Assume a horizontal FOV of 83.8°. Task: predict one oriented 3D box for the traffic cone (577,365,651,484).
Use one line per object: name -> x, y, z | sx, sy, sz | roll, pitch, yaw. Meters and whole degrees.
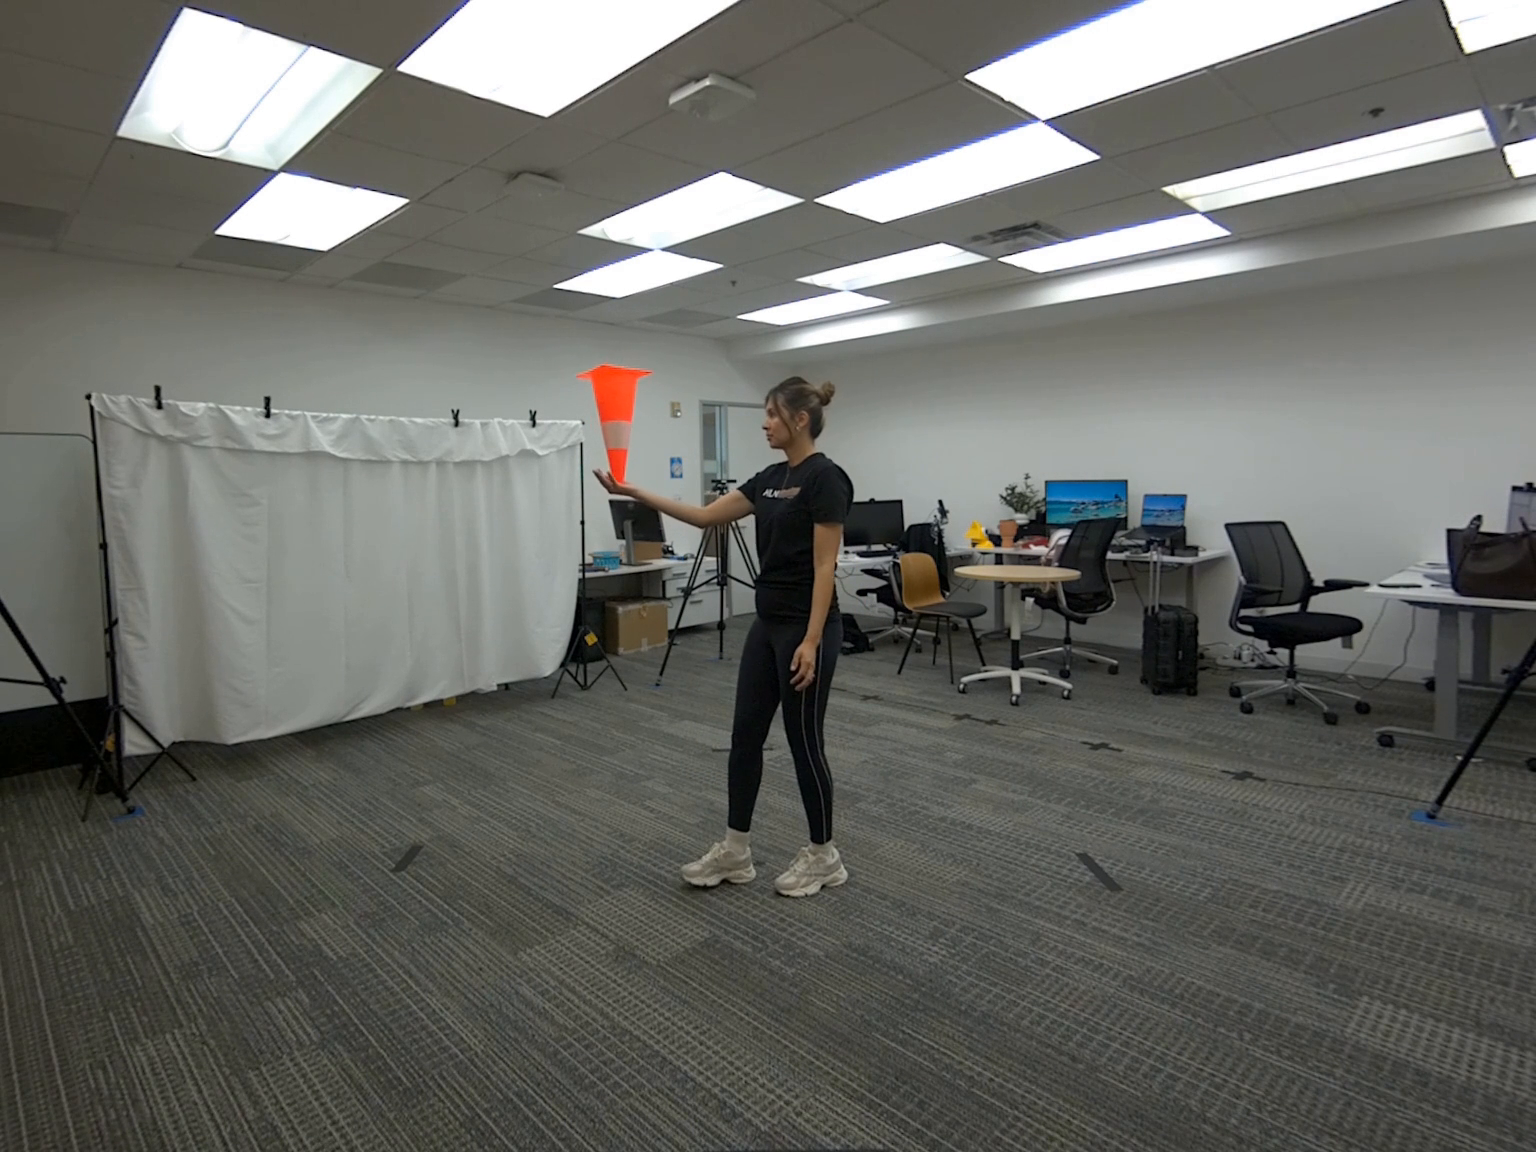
traffic cone -> -0.515, -0.495, 2.869 | 0.199, 0.384, 0.209 | -1, -1, -42
